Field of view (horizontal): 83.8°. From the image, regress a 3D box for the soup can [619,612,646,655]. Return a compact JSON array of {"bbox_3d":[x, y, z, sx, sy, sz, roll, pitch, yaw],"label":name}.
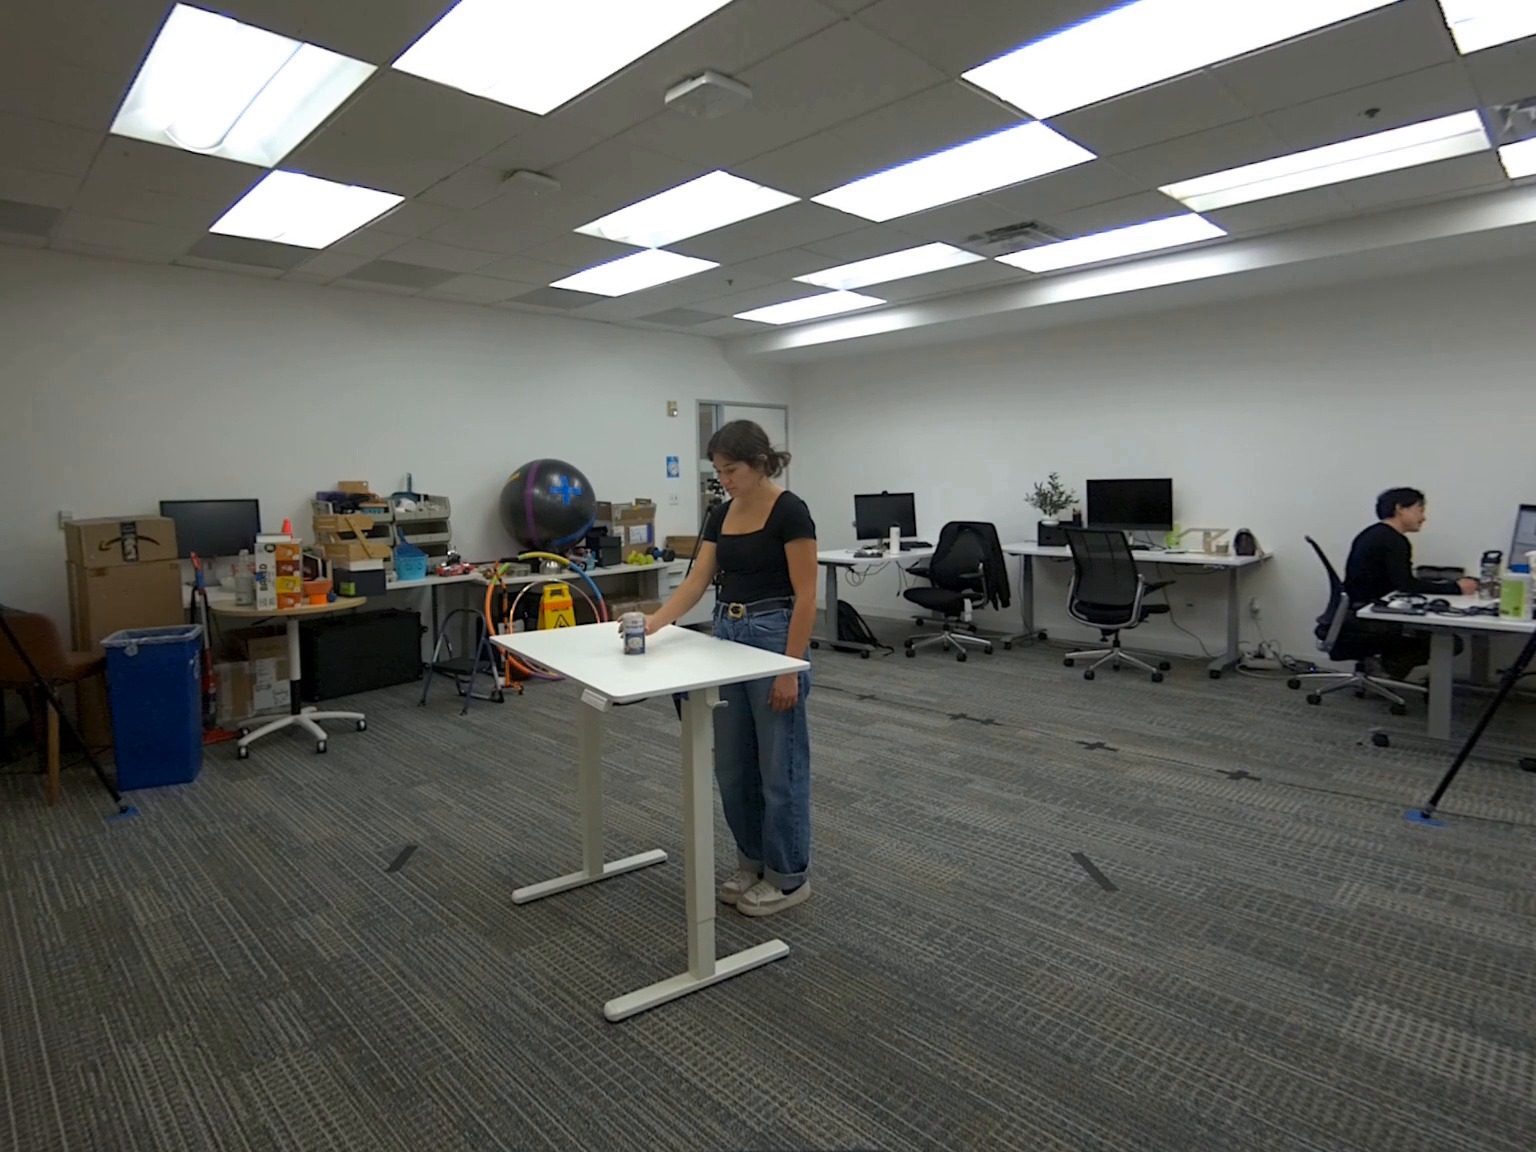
[{"bbox_3d":[-0.401,0.176,2.559,0.067,0.121,0.067,-3,5,-1],"label":"soup can"}]
